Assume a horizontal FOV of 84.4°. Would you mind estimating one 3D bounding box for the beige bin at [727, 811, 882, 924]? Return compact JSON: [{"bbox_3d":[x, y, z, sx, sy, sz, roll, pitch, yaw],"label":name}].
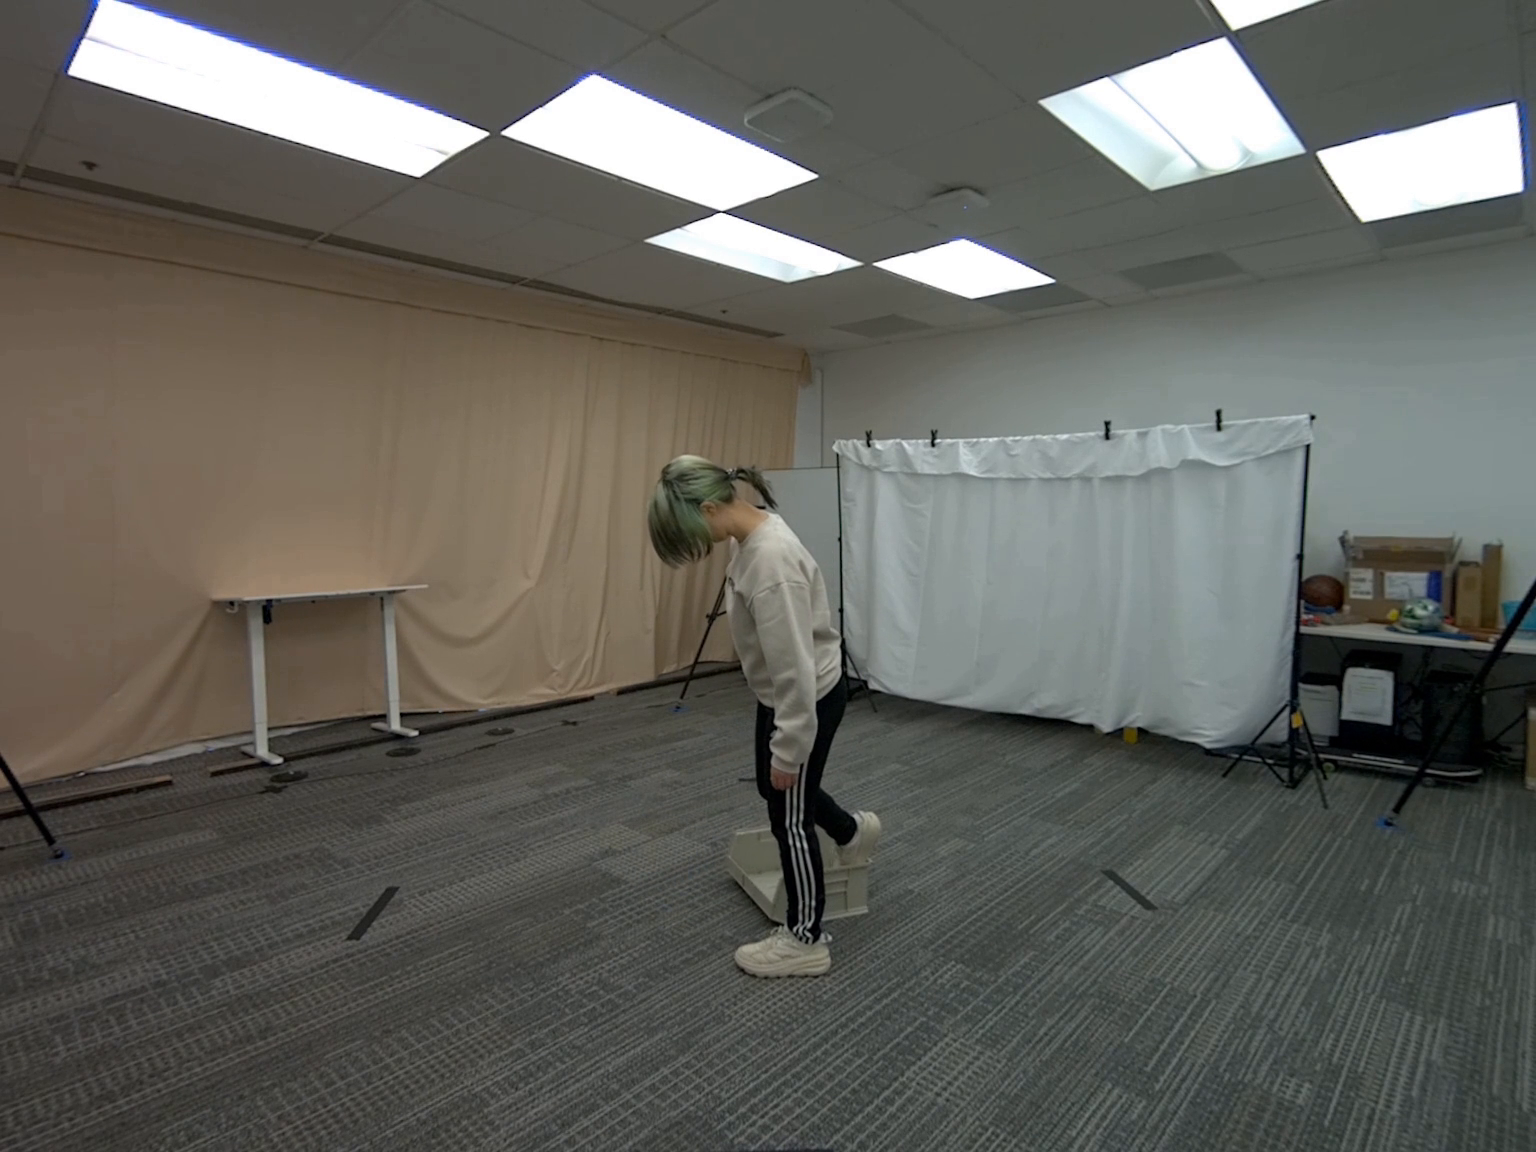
[{"bbox_3d":[0.102,1.049,3.000,0.369,0.188,0.433,-1,5,-23],"label":"beige bin"}]
